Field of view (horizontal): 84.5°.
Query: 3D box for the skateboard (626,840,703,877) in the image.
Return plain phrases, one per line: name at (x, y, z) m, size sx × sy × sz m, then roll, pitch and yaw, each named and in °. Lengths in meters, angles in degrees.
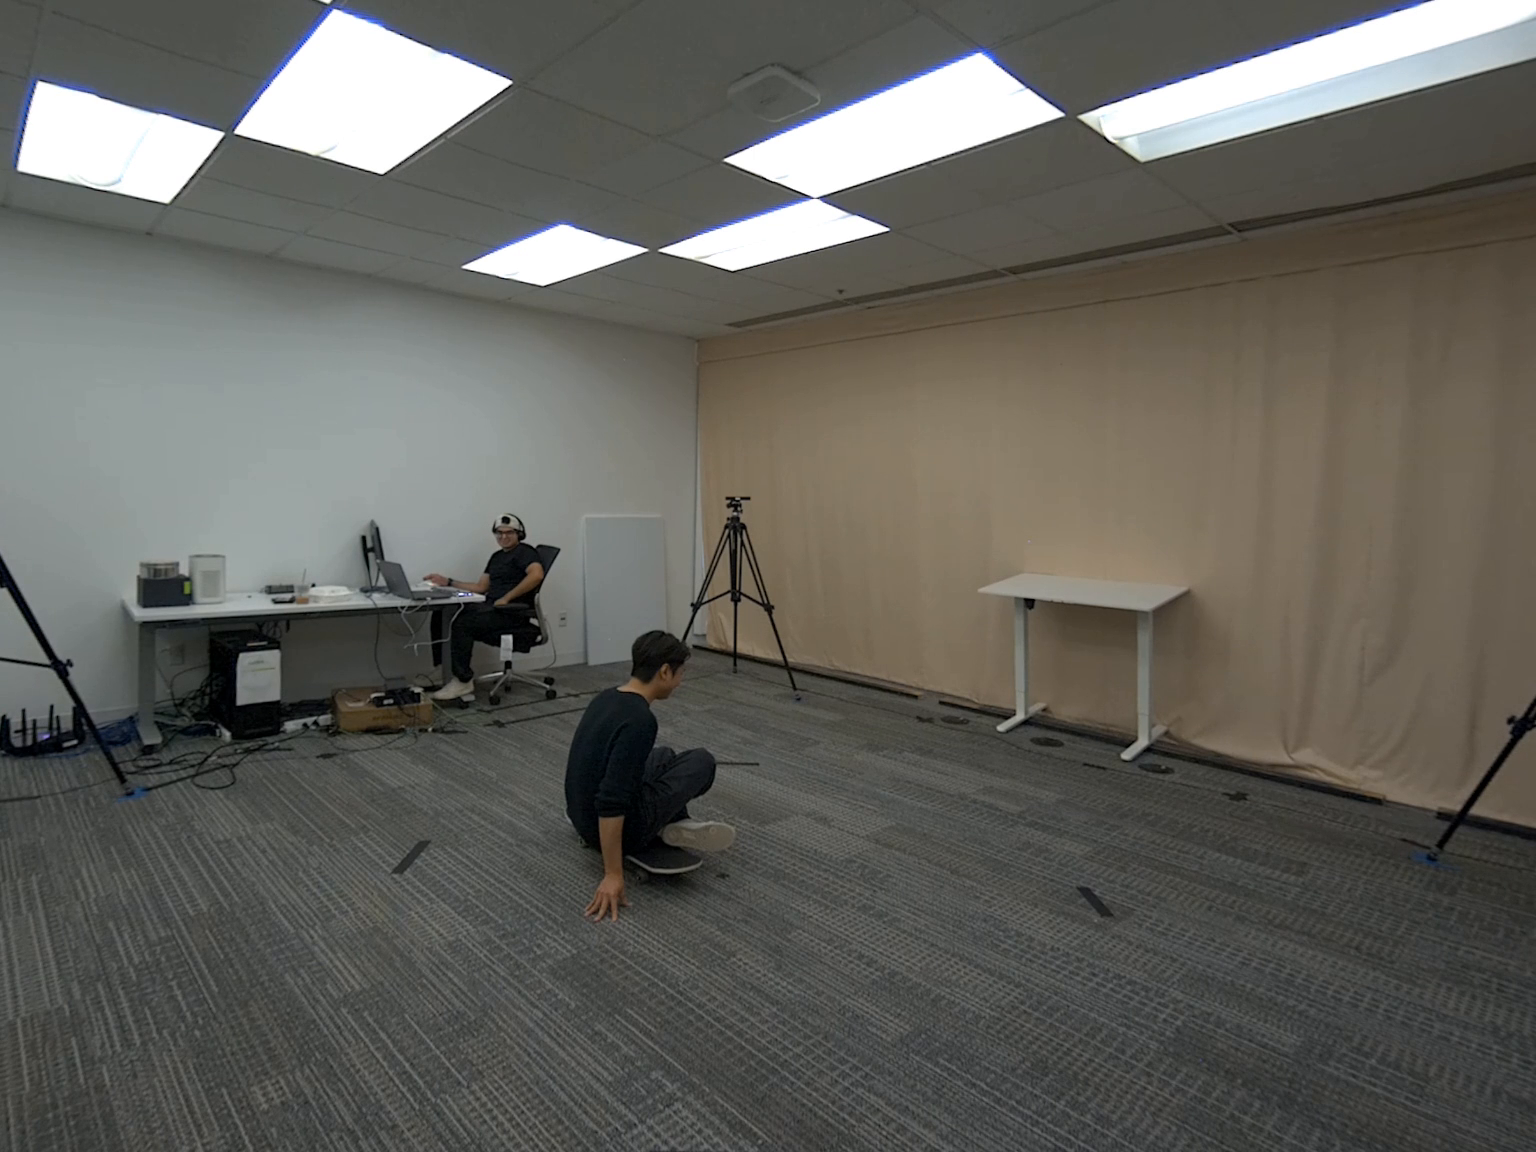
skateboard at (-0.543, 1.039, 3.232) m, size 0.189 × 0.110 × 0.805 m, roll -2°, pitch 6°, yaw -43°
